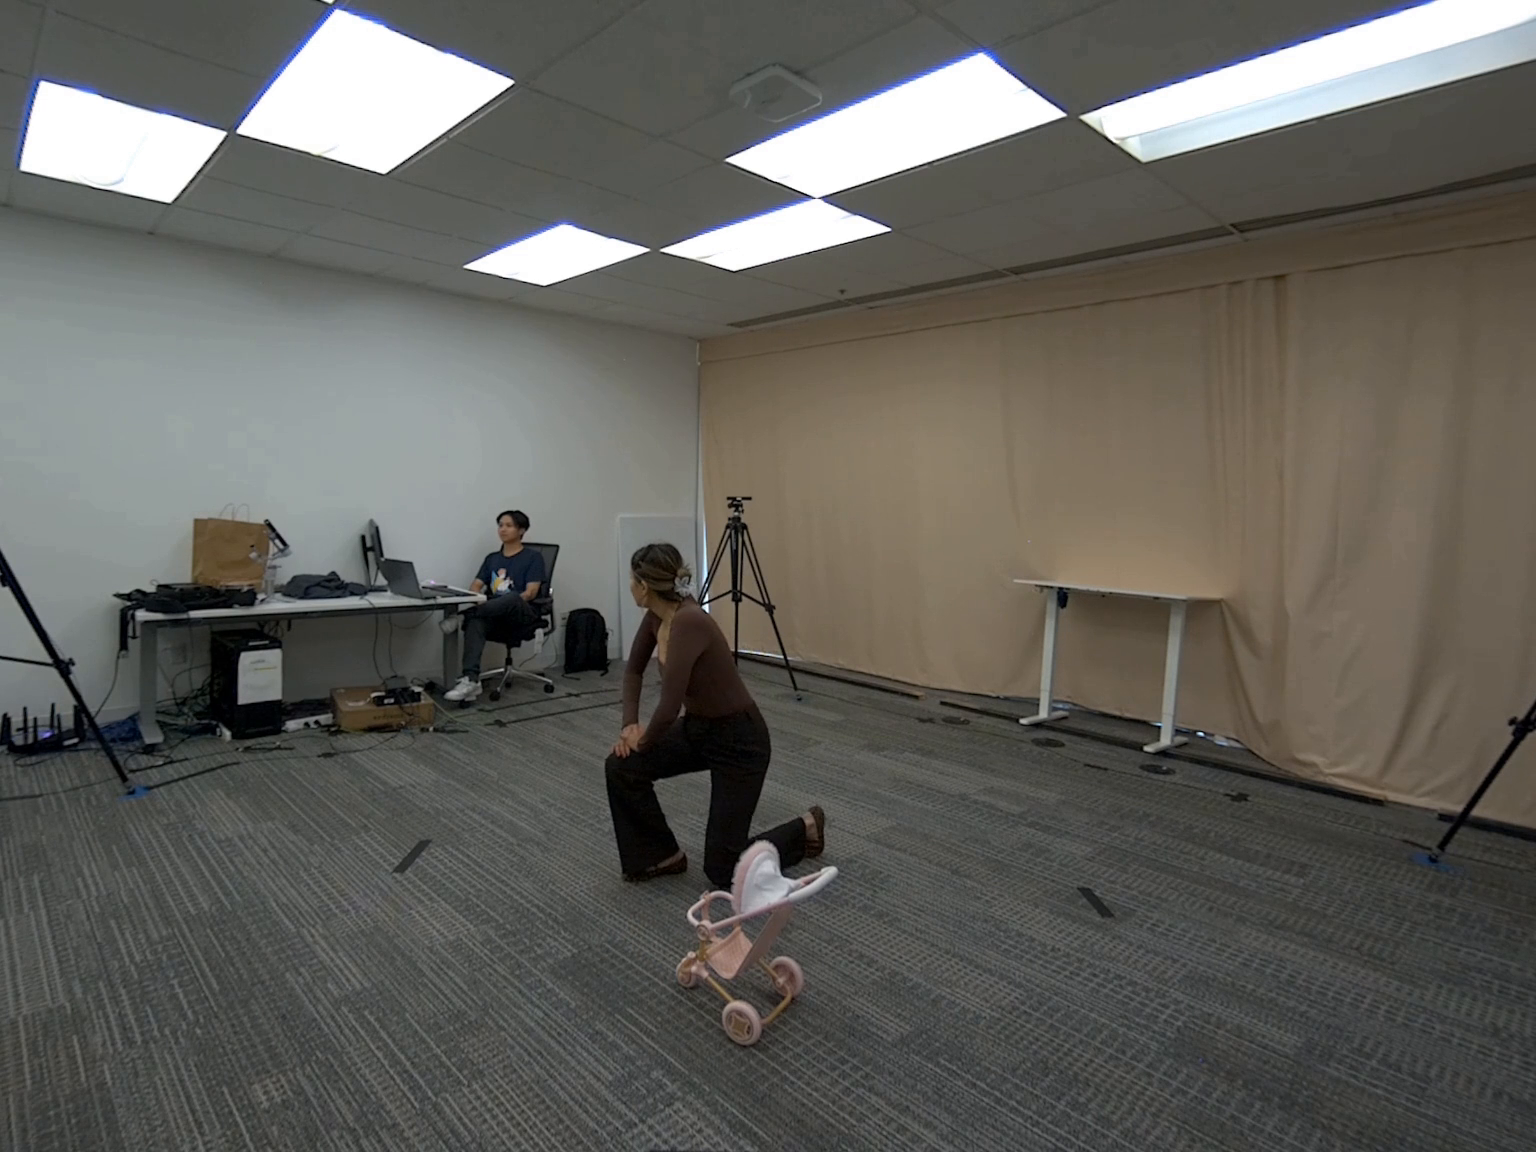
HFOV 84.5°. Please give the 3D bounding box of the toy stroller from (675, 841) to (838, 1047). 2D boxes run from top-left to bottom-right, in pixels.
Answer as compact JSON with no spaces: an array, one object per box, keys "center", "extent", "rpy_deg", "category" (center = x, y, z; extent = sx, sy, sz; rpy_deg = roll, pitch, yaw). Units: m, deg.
[{"center":[-0.063,0.953,2.290],"extent":[0.351,0.532,0.275],"rpy_deg":[23,13,32],"category":"toy stroller"}]
